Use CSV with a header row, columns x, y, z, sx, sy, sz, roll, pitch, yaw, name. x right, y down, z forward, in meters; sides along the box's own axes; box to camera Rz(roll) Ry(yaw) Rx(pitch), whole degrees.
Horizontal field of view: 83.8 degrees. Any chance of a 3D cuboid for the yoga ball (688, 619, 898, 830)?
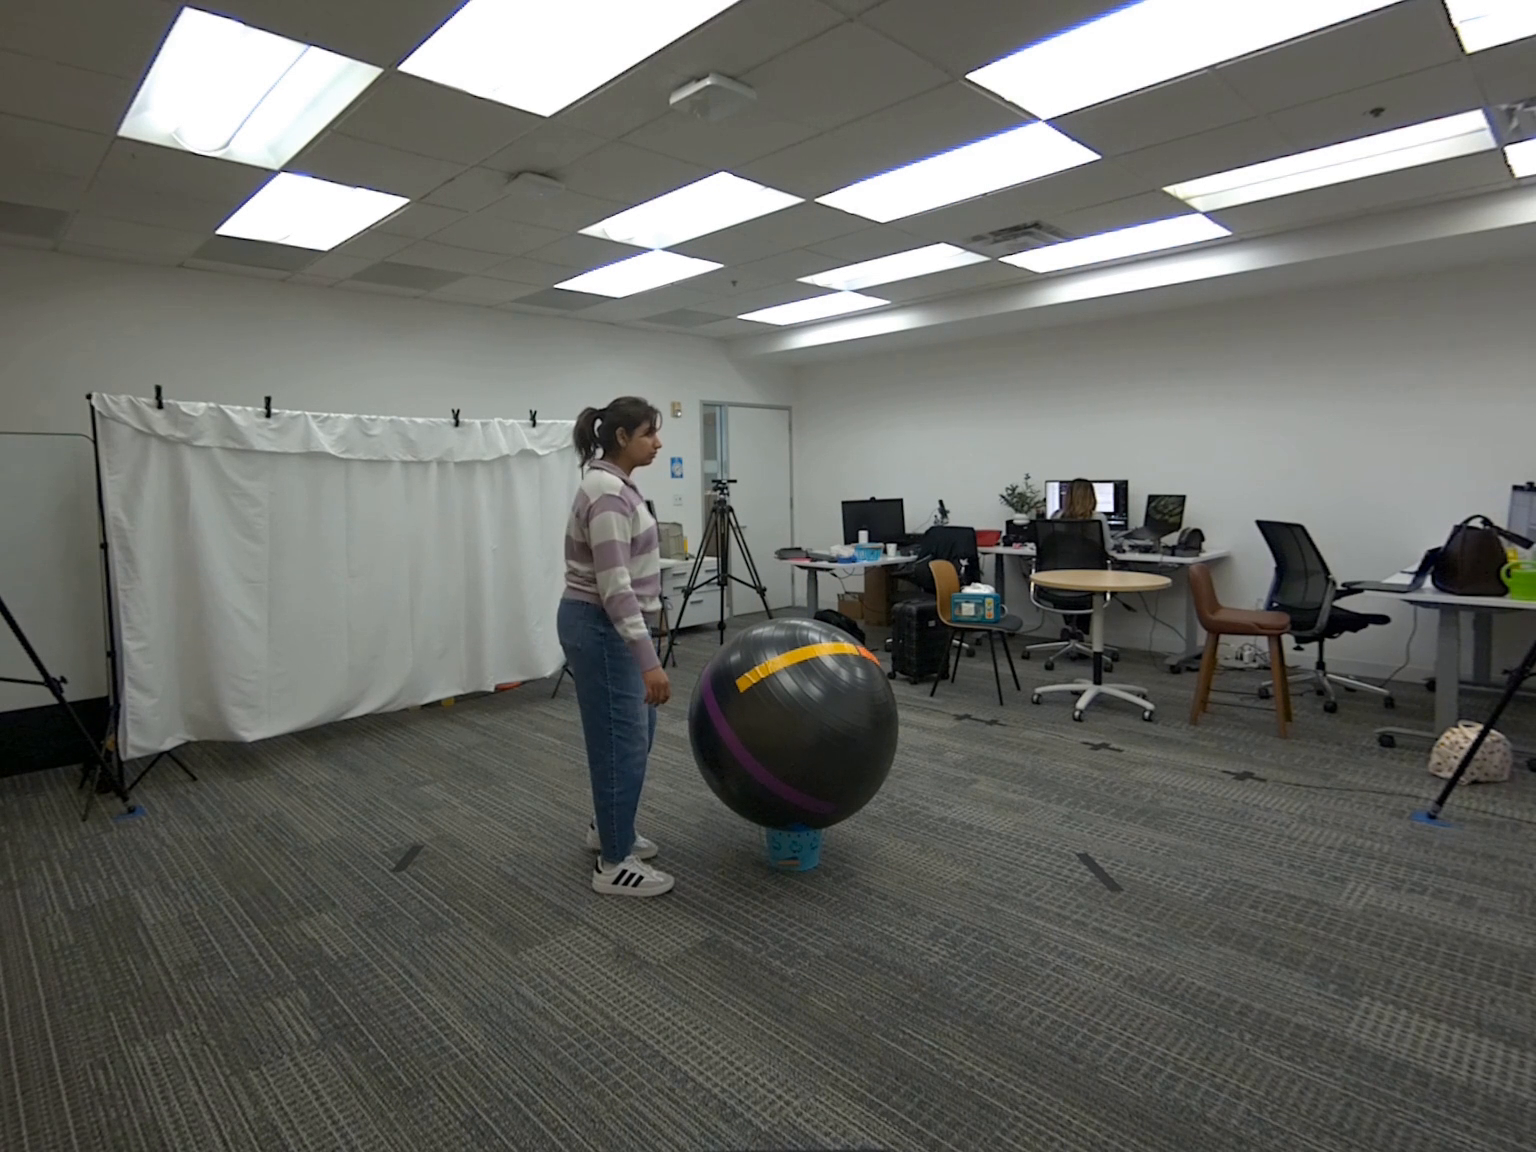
x,y,z,sx,sy,sz,roll,pitch,yaw,name
0.088,0.527,3.110,0.757,0.755,0.762,-1,5,-2,yoga ball
